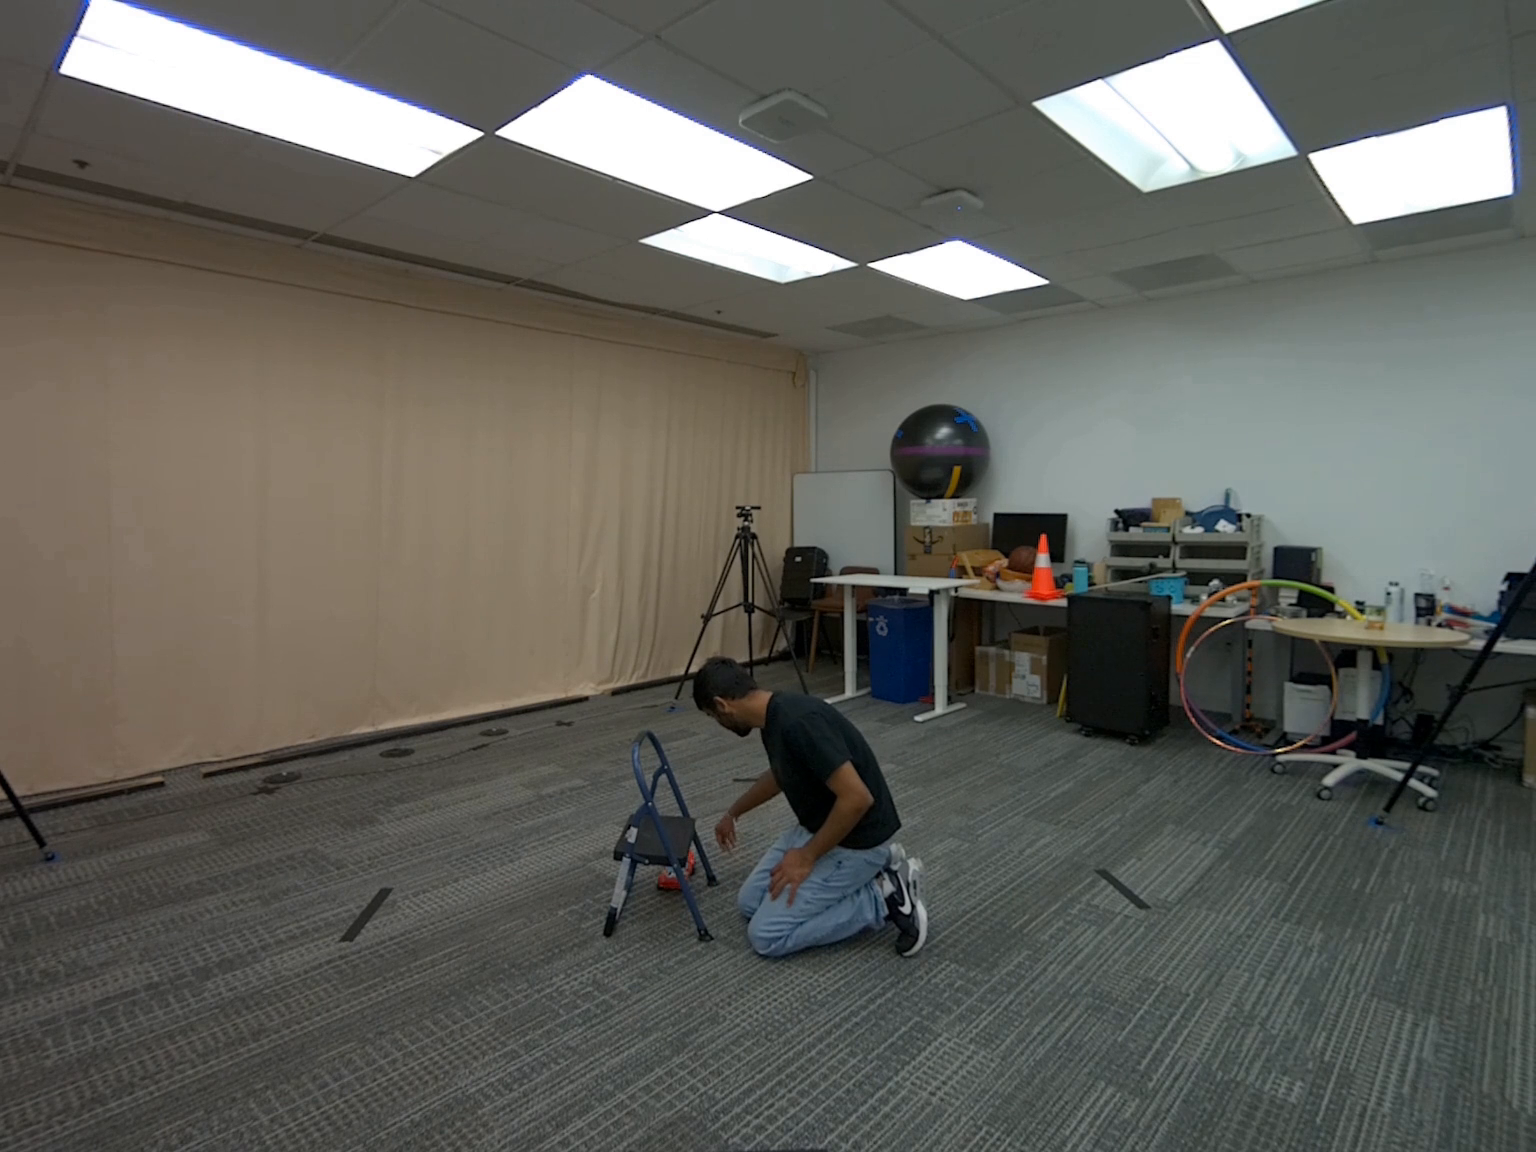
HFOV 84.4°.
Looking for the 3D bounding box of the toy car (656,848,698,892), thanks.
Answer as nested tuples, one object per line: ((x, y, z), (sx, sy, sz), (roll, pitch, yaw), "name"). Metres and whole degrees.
((-0.341, 1.104, 3.152), (0.131, 0.082, 0.256), (-1, 17, 3), "toy car")
